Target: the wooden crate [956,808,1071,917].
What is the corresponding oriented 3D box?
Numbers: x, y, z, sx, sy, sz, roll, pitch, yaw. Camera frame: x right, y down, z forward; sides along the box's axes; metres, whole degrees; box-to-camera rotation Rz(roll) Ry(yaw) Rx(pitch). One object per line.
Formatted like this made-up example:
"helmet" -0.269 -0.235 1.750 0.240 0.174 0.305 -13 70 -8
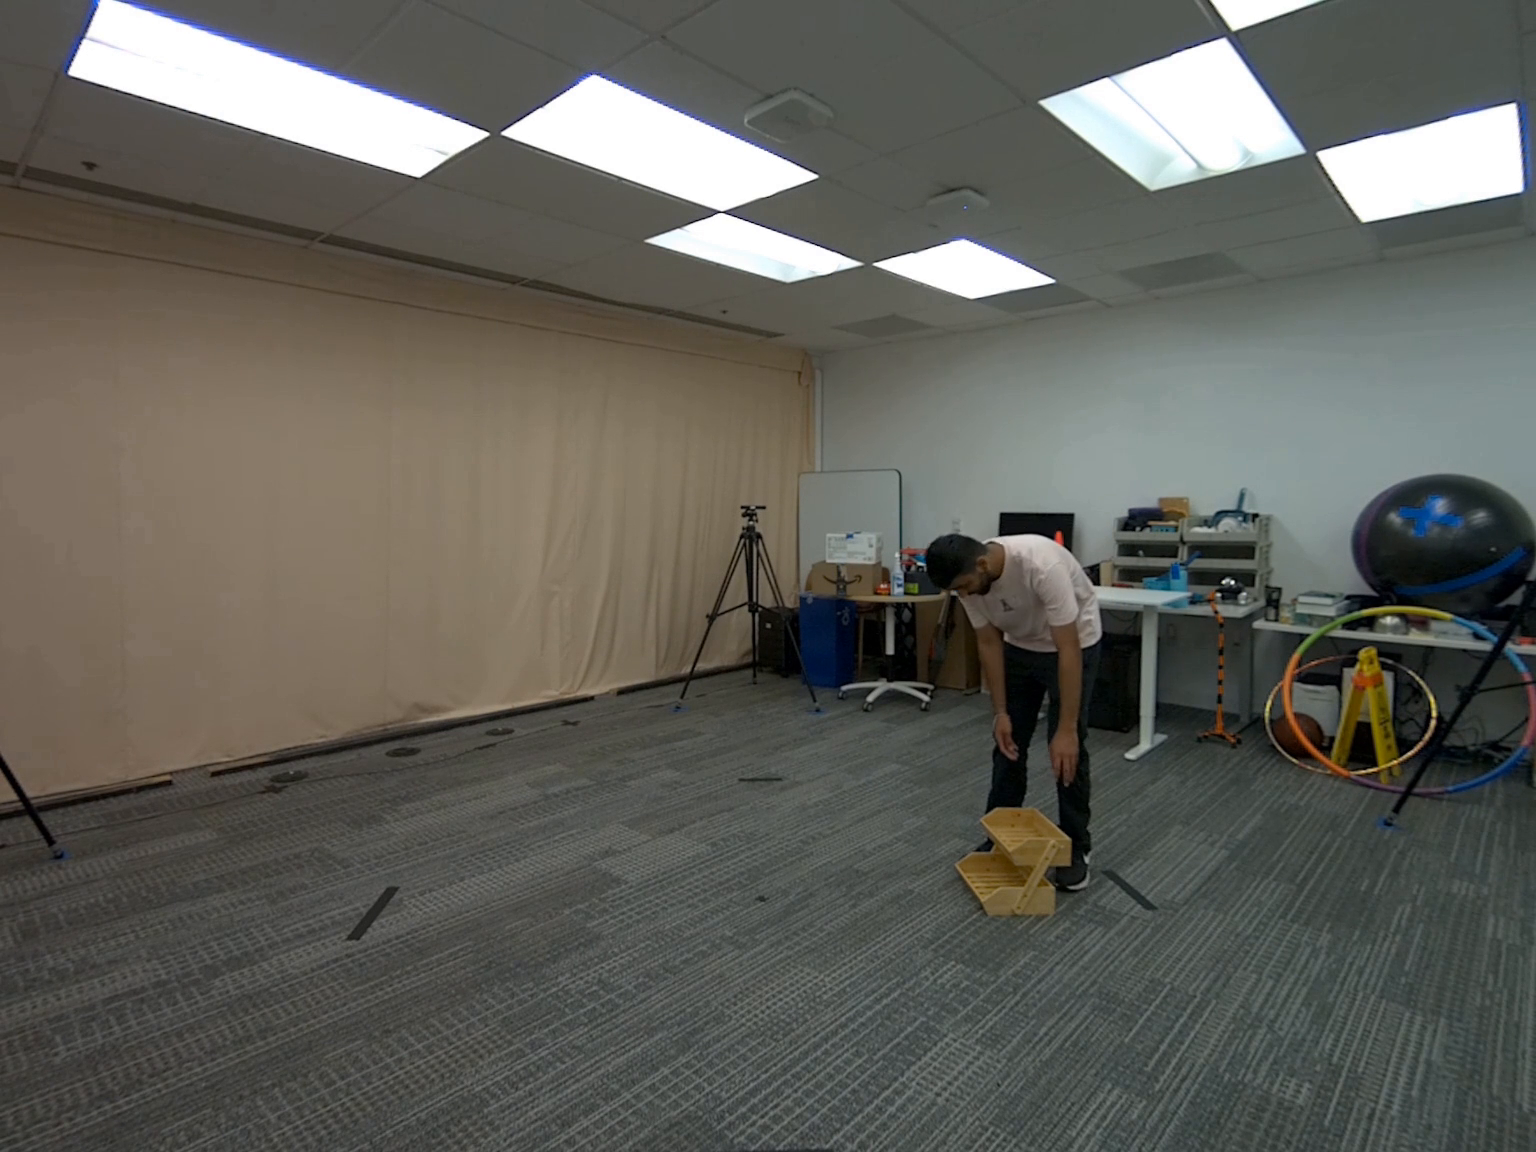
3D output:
"wooden crate" 0.865 1.008 3.000 0.301 0.273 0.326 1 3 -5
